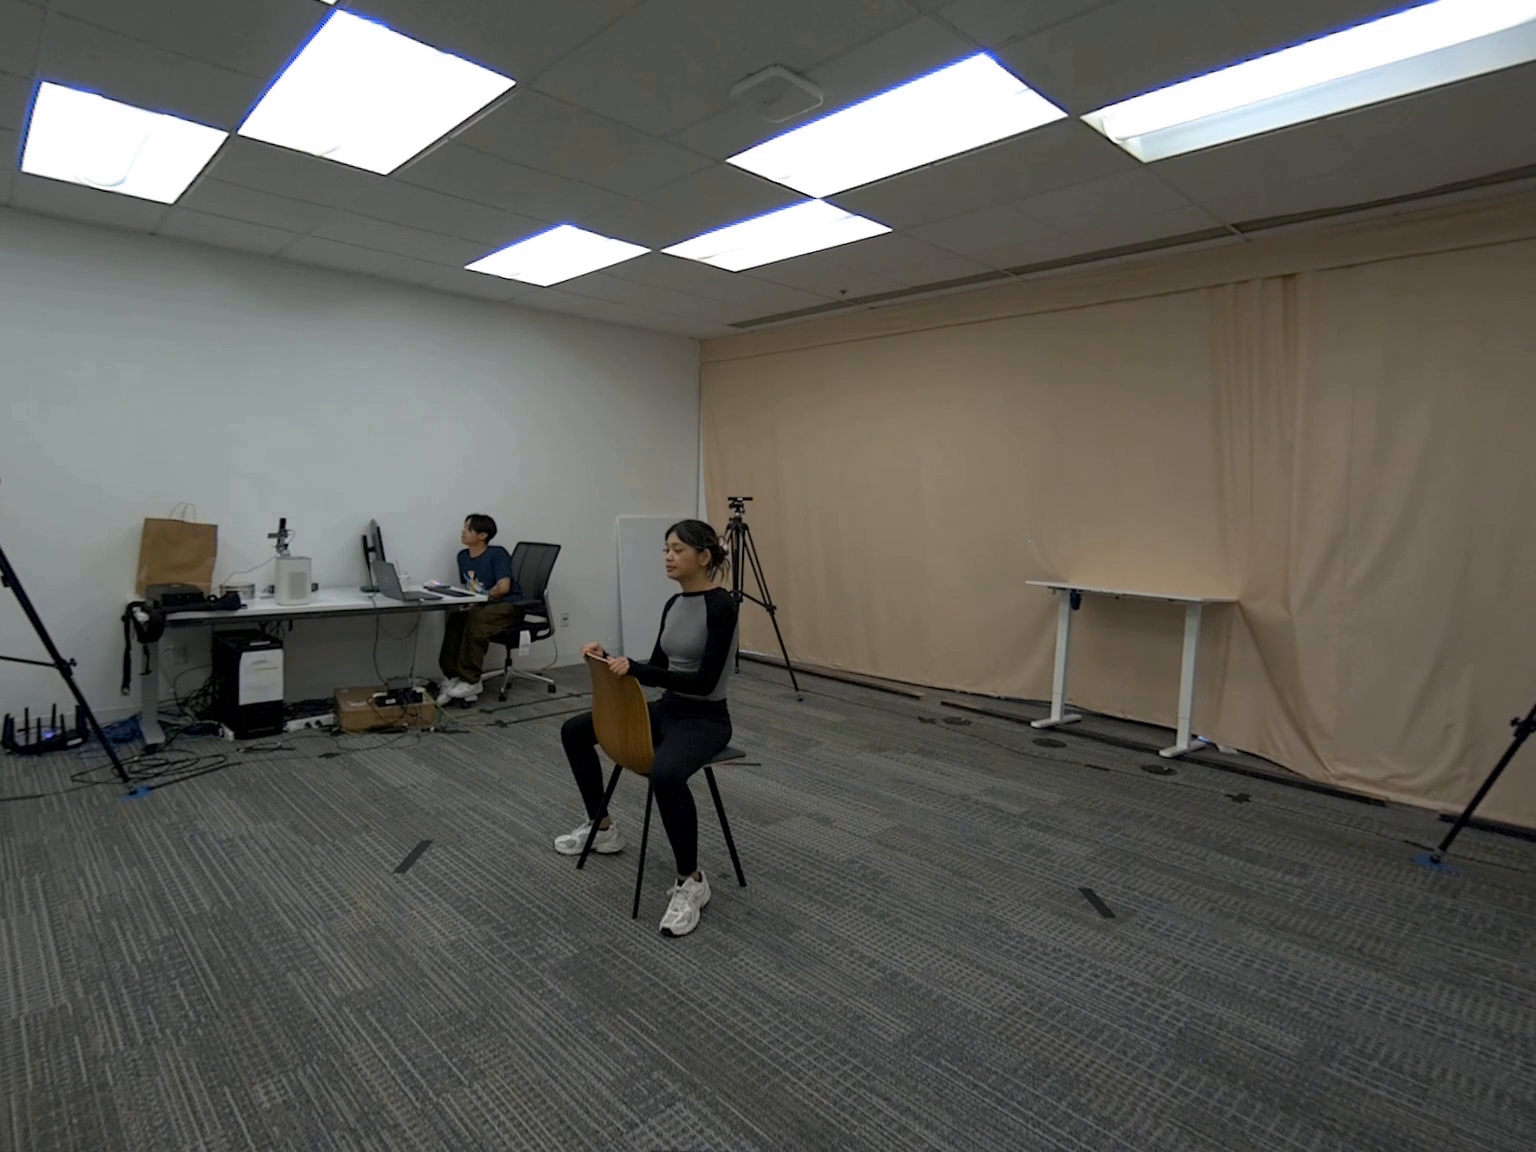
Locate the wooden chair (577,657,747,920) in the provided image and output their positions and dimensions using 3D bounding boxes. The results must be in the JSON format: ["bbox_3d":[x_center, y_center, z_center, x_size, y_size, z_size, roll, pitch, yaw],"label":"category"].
[{"bbox_3d":[-0.382,0.681,3.058,0.513,0.873,0.490,-8,8,-35],"label":"wooden chair"}]
